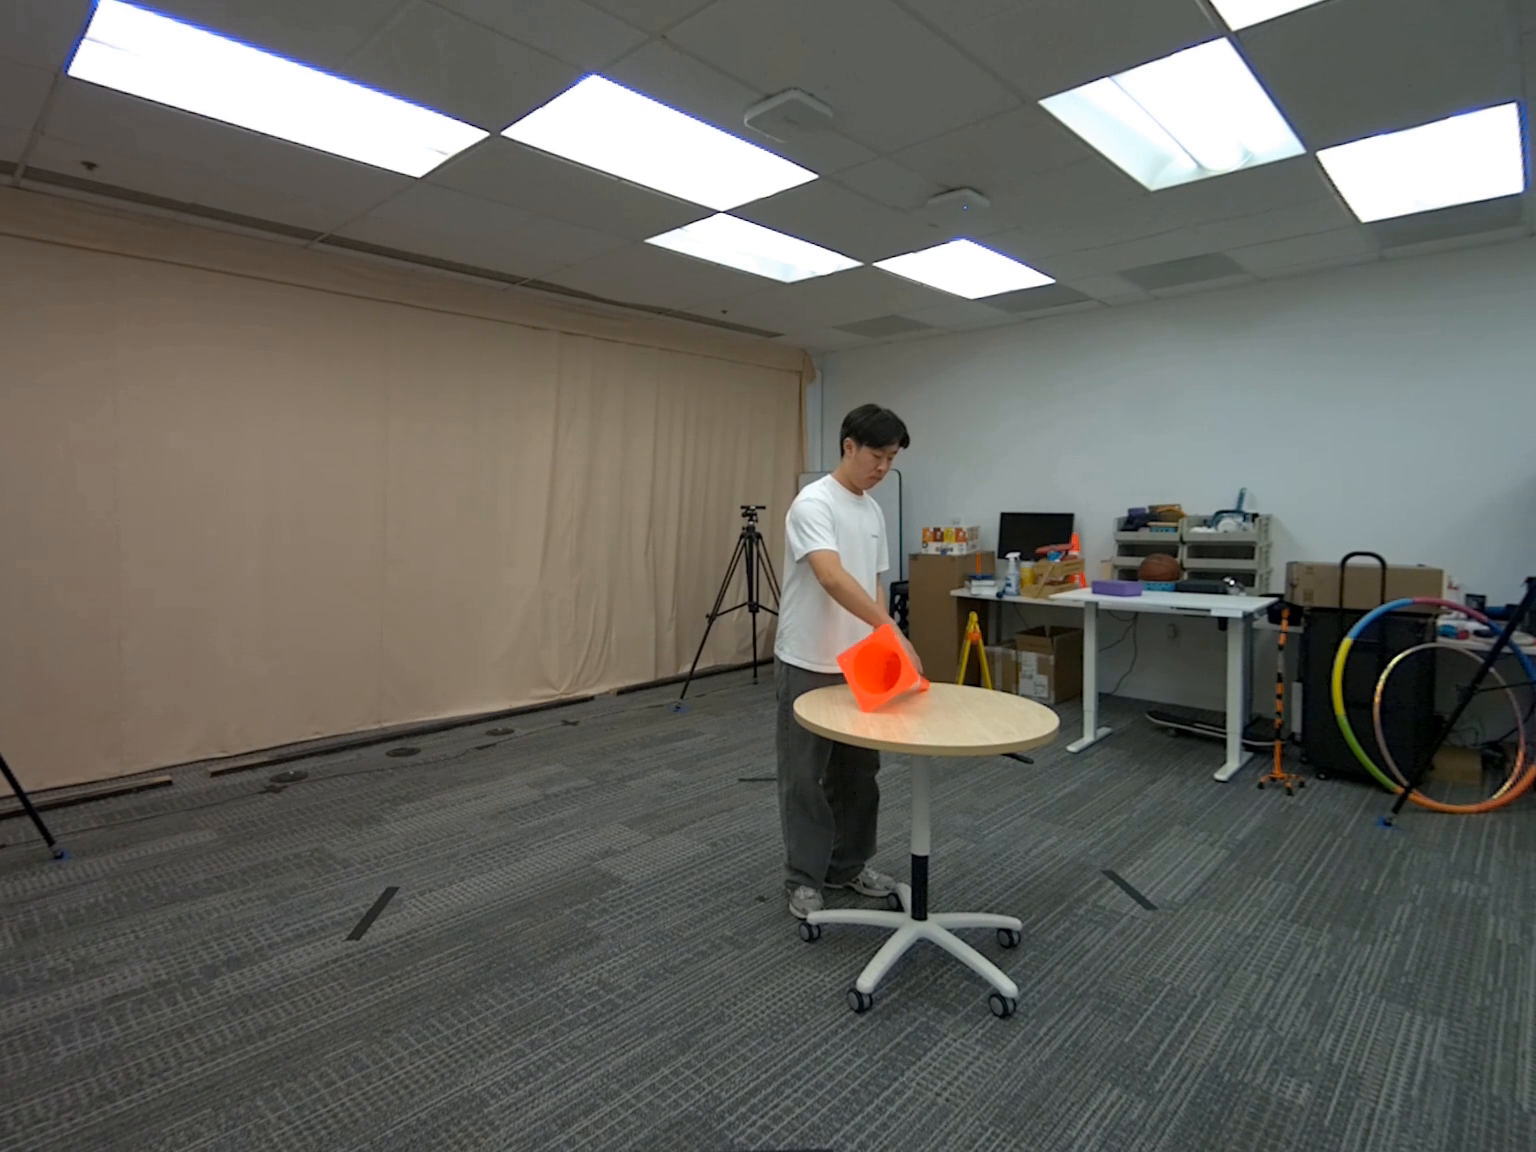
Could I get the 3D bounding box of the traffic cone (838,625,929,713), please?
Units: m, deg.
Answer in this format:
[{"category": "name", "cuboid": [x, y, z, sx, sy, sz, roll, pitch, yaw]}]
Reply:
[{"category": "traffic cone", "cuboid": [0.418, 0.317, 2.641, 0.207, 0.209, 0.370, -37, -31, 20]}]
